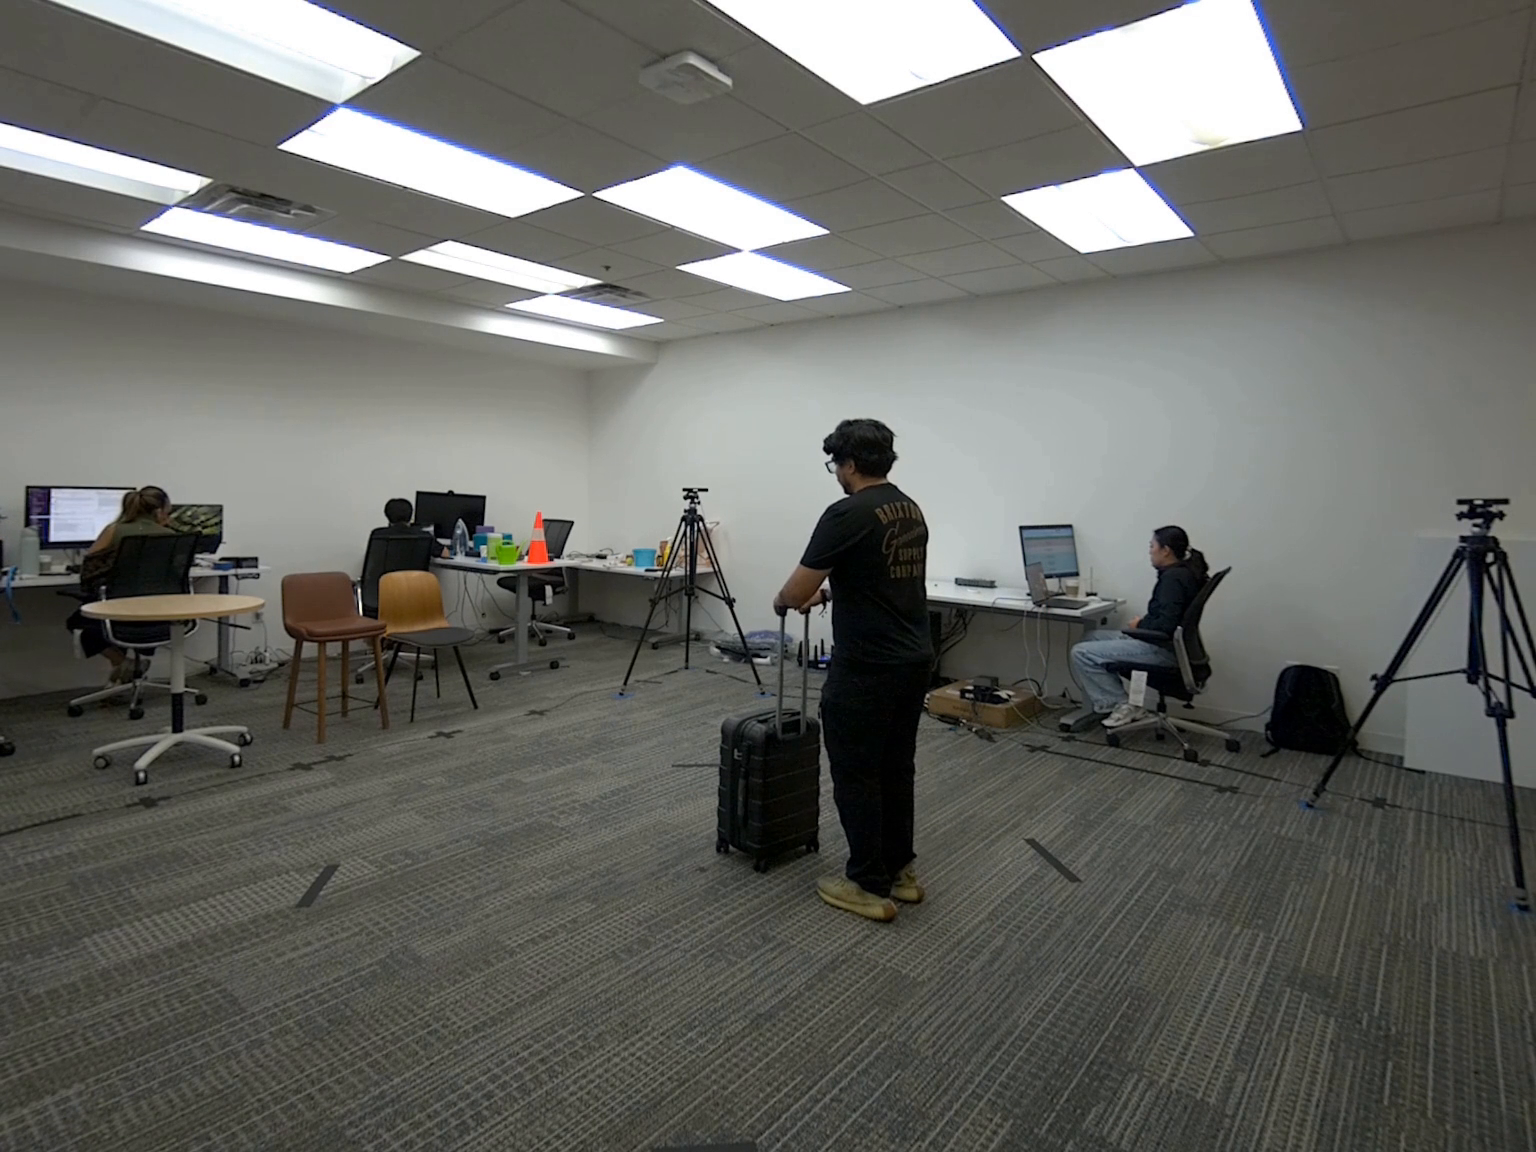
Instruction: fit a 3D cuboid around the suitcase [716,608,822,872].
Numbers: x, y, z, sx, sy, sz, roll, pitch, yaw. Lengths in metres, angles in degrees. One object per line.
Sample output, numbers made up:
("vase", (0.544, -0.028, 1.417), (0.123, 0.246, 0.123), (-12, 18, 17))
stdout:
("suitcase", (-0.001, 0.583, 3.244), (0.372, 0.977, 0.266), (0, 3, -41))
